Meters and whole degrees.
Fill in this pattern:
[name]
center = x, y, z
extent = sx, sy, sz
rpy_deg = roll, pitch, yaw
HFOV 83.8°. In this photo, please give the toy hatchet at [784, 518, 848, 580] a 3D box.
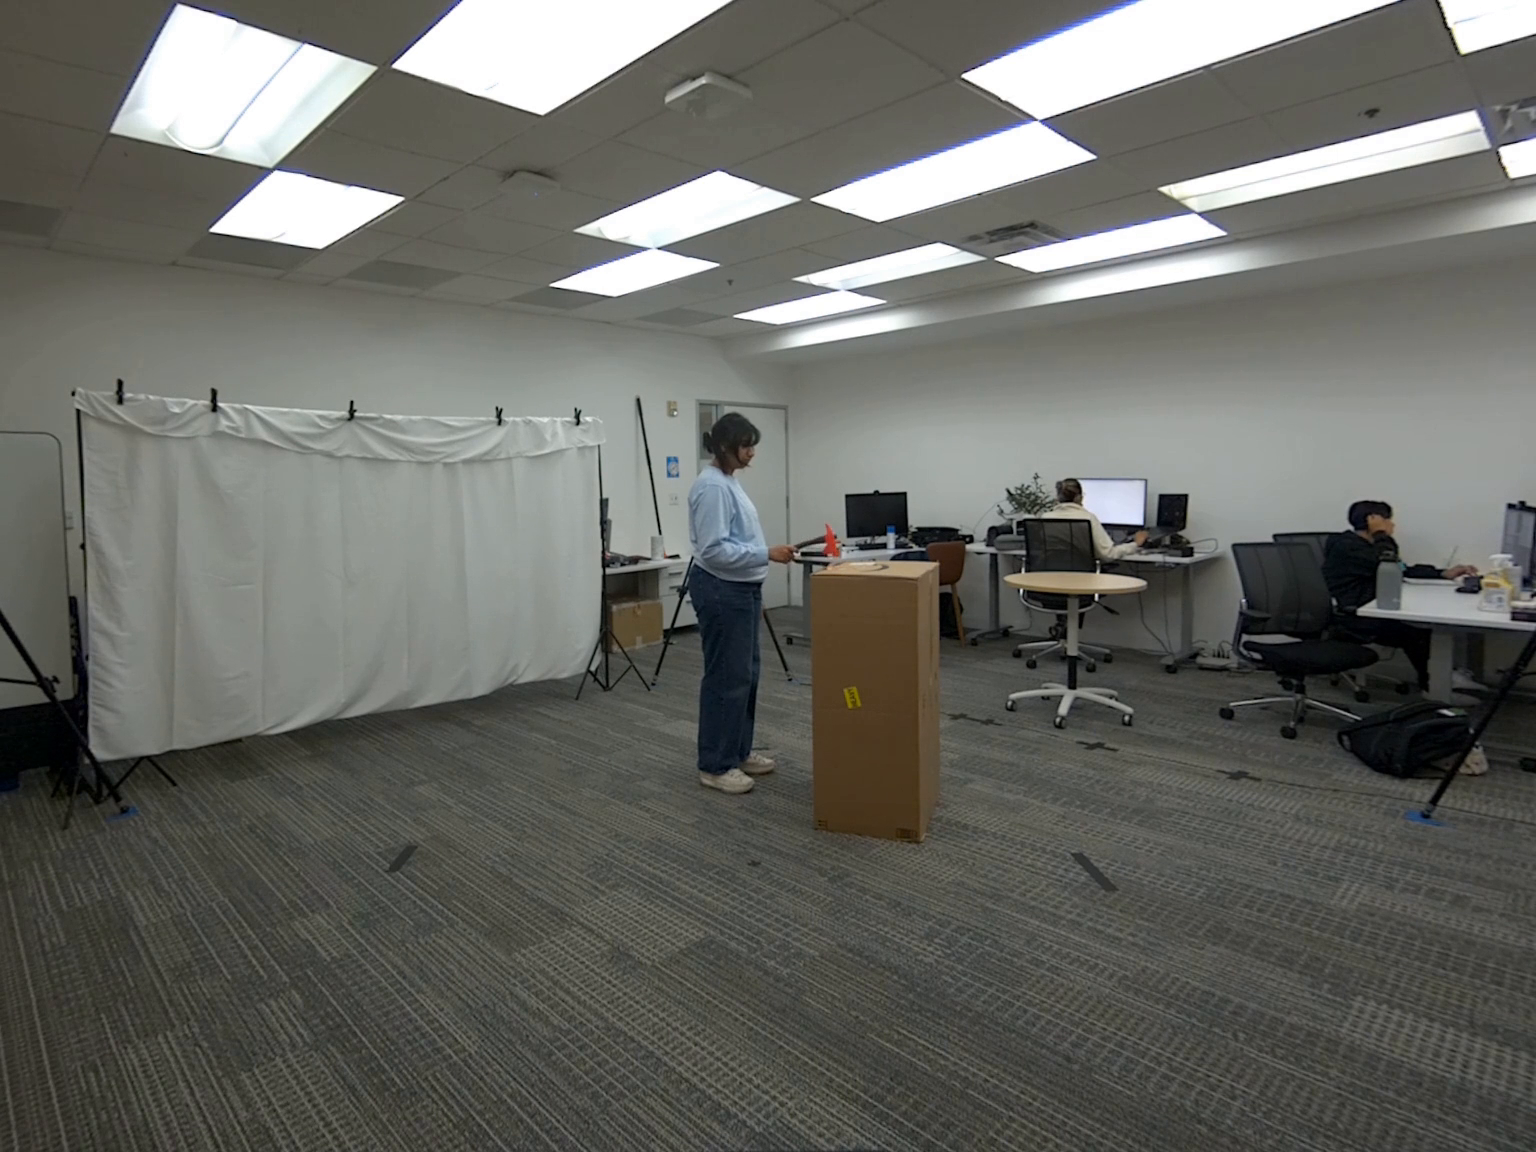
[toy hatchet]
center = 0.187, -0.117, 3.674
extent = 0.271, 0.131, 0.029
rpy_deg = -33, 2, 11
